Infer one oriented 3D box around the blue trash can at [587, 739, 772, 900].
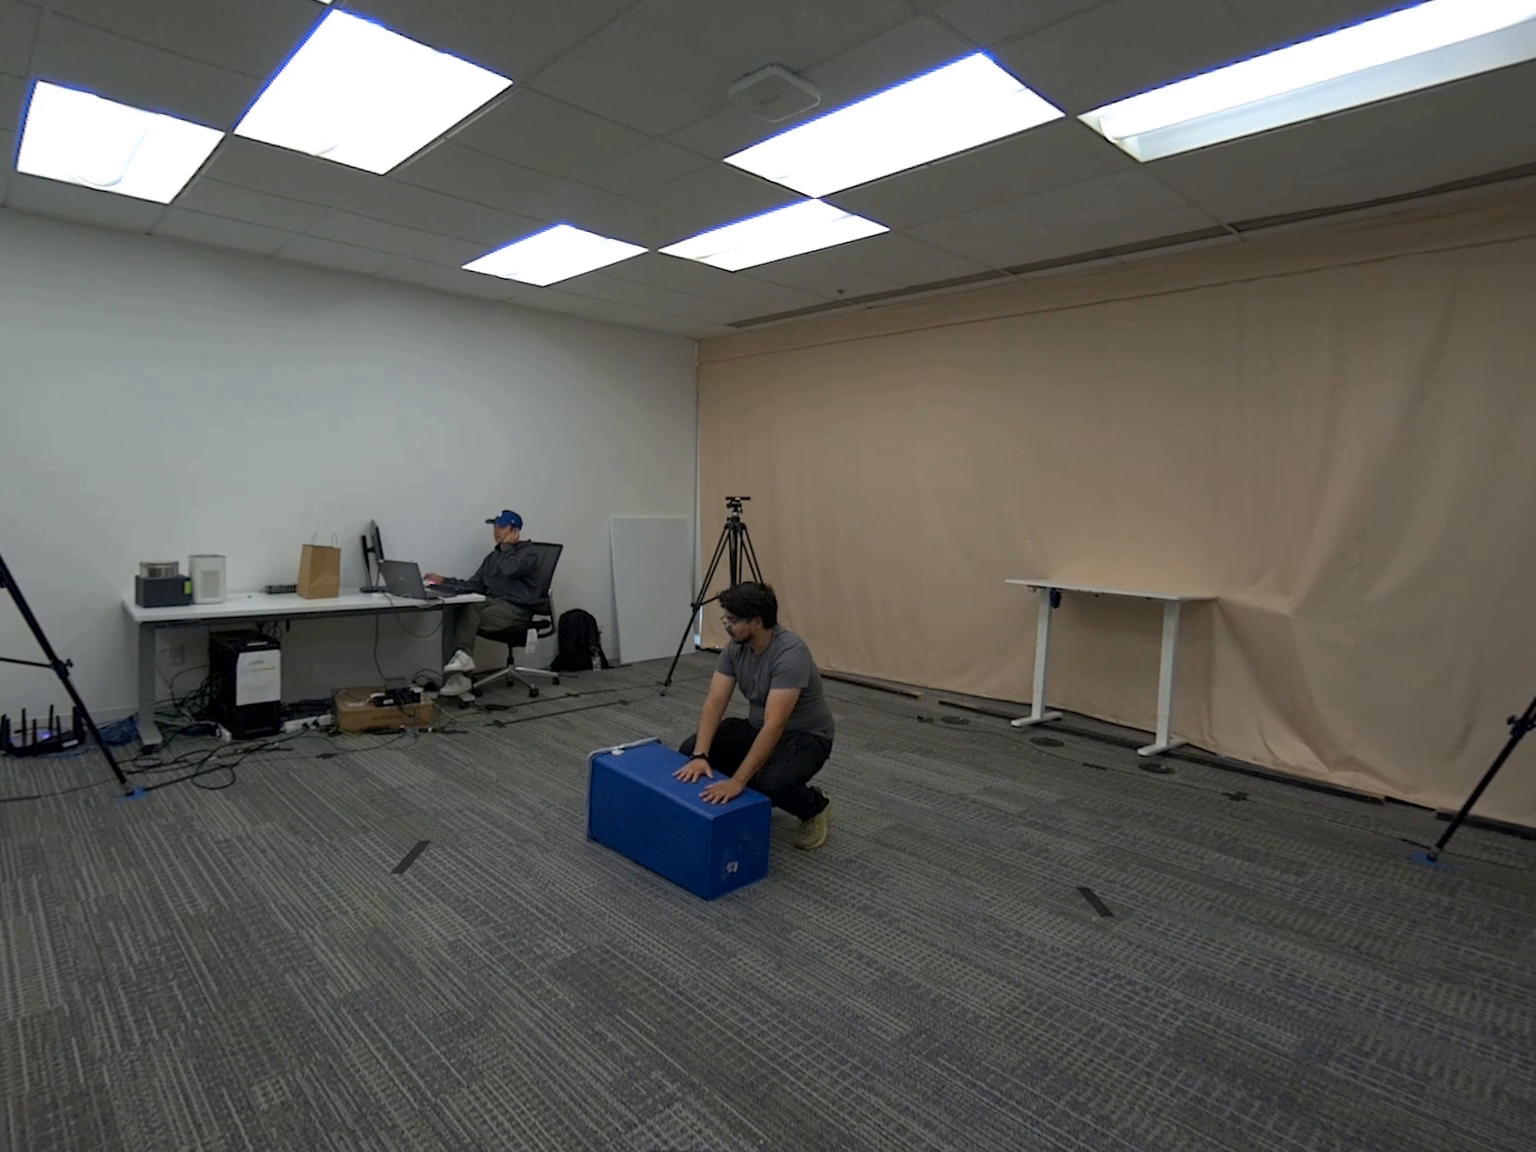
[{"bbox_3d":[-0.359,0.915,3.235,0.365,0.377,0.732,-2,7,-43],"label":"blue trash can"}]
